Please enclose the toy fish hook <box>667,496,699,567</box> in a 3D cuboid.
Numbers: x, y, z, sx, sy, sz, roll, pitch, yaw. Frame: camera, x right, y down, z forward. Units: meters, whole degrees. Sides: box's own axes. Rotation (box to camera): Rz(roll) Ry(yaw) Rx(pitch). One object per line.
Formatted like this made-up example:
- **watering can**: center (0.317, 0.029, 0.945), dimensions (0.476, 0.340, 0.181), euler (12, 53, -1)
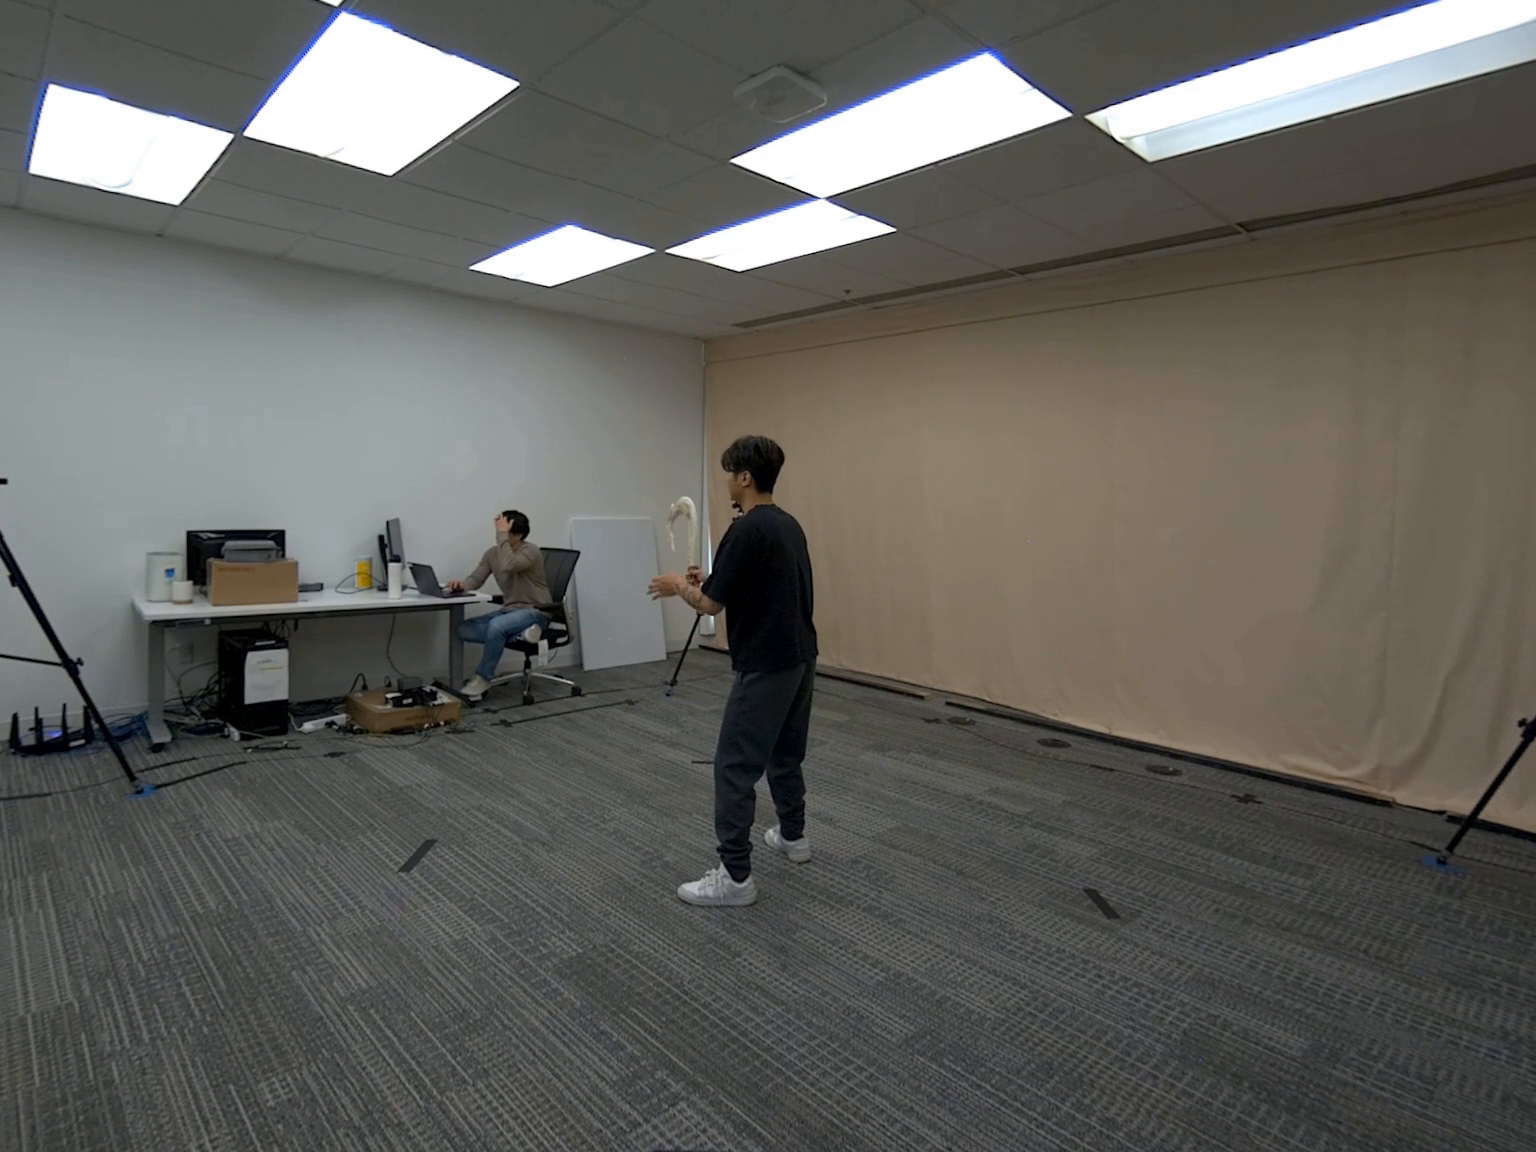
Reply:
- **toy fish hook**: center (-0.334, -0.041, 3.376), dimensions (0.047, 0.514, 0.226), euler (2, -22, -34)
